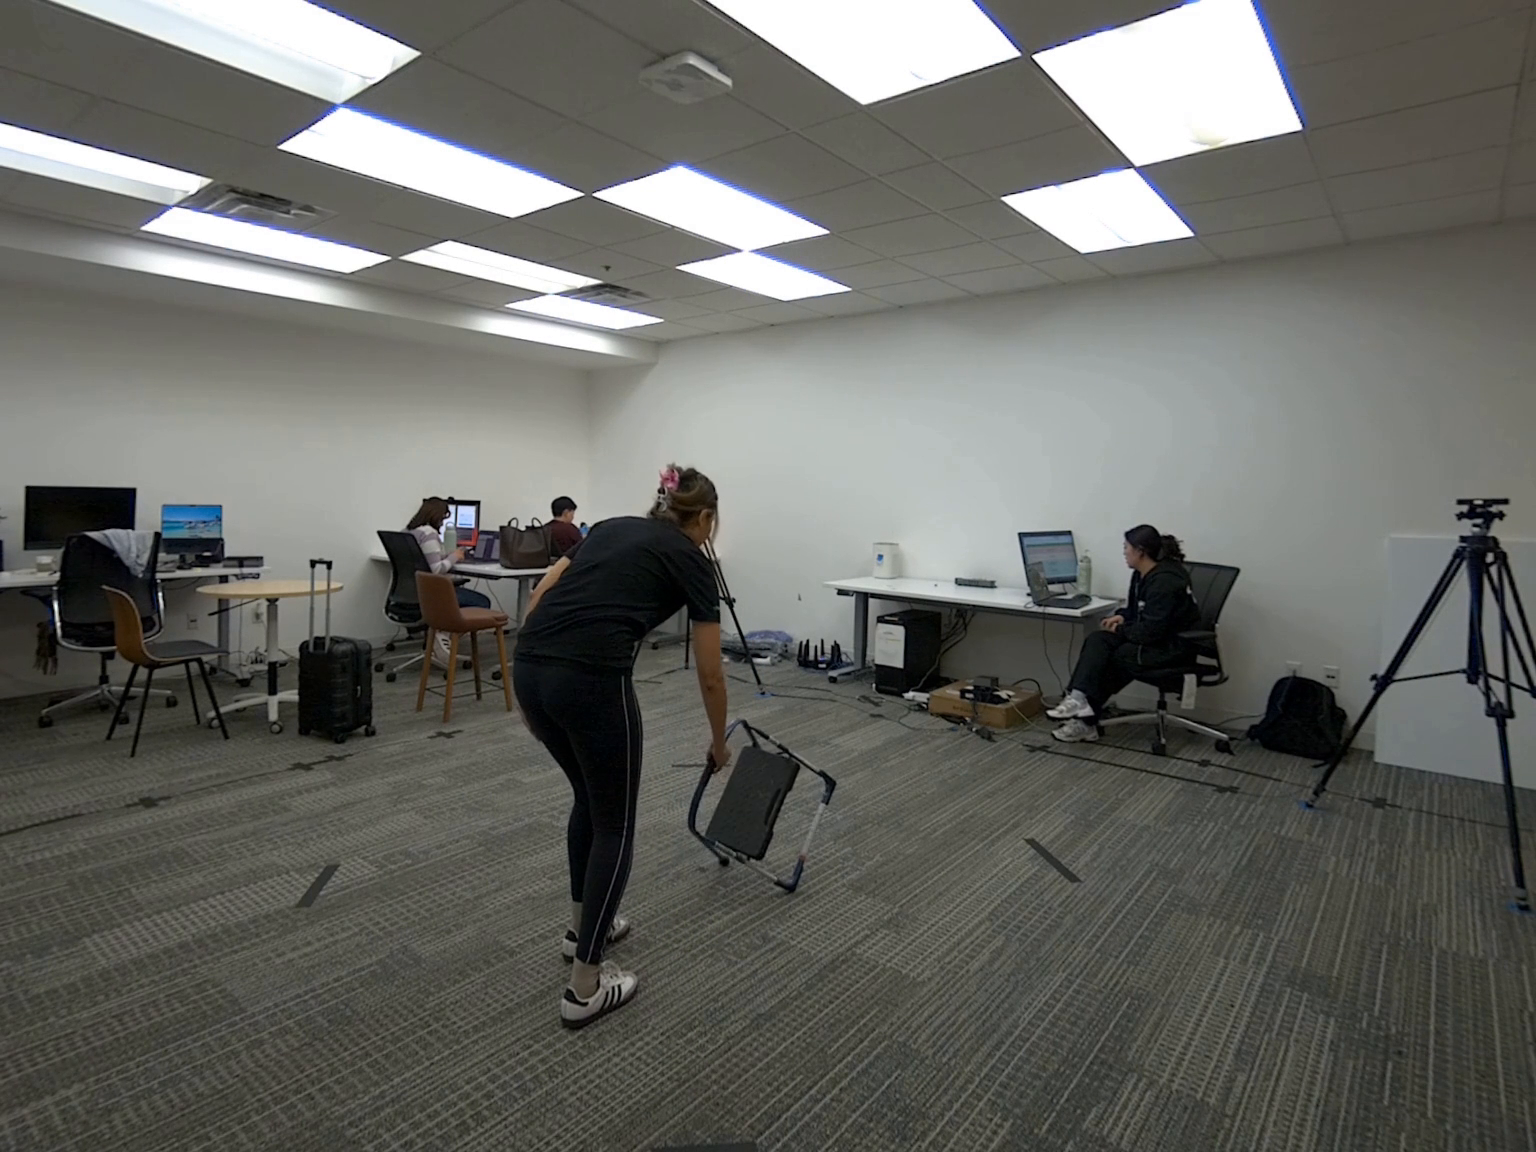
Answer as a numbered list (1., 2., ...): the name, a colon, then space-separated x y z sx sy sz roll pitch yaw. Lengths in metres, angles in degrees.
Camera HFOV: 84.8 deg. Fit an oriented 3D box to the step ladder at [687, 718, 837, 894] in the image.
1. step ladder: -0.106 0.750 2.931 0.361 0.434 0.581 6 -29 39
